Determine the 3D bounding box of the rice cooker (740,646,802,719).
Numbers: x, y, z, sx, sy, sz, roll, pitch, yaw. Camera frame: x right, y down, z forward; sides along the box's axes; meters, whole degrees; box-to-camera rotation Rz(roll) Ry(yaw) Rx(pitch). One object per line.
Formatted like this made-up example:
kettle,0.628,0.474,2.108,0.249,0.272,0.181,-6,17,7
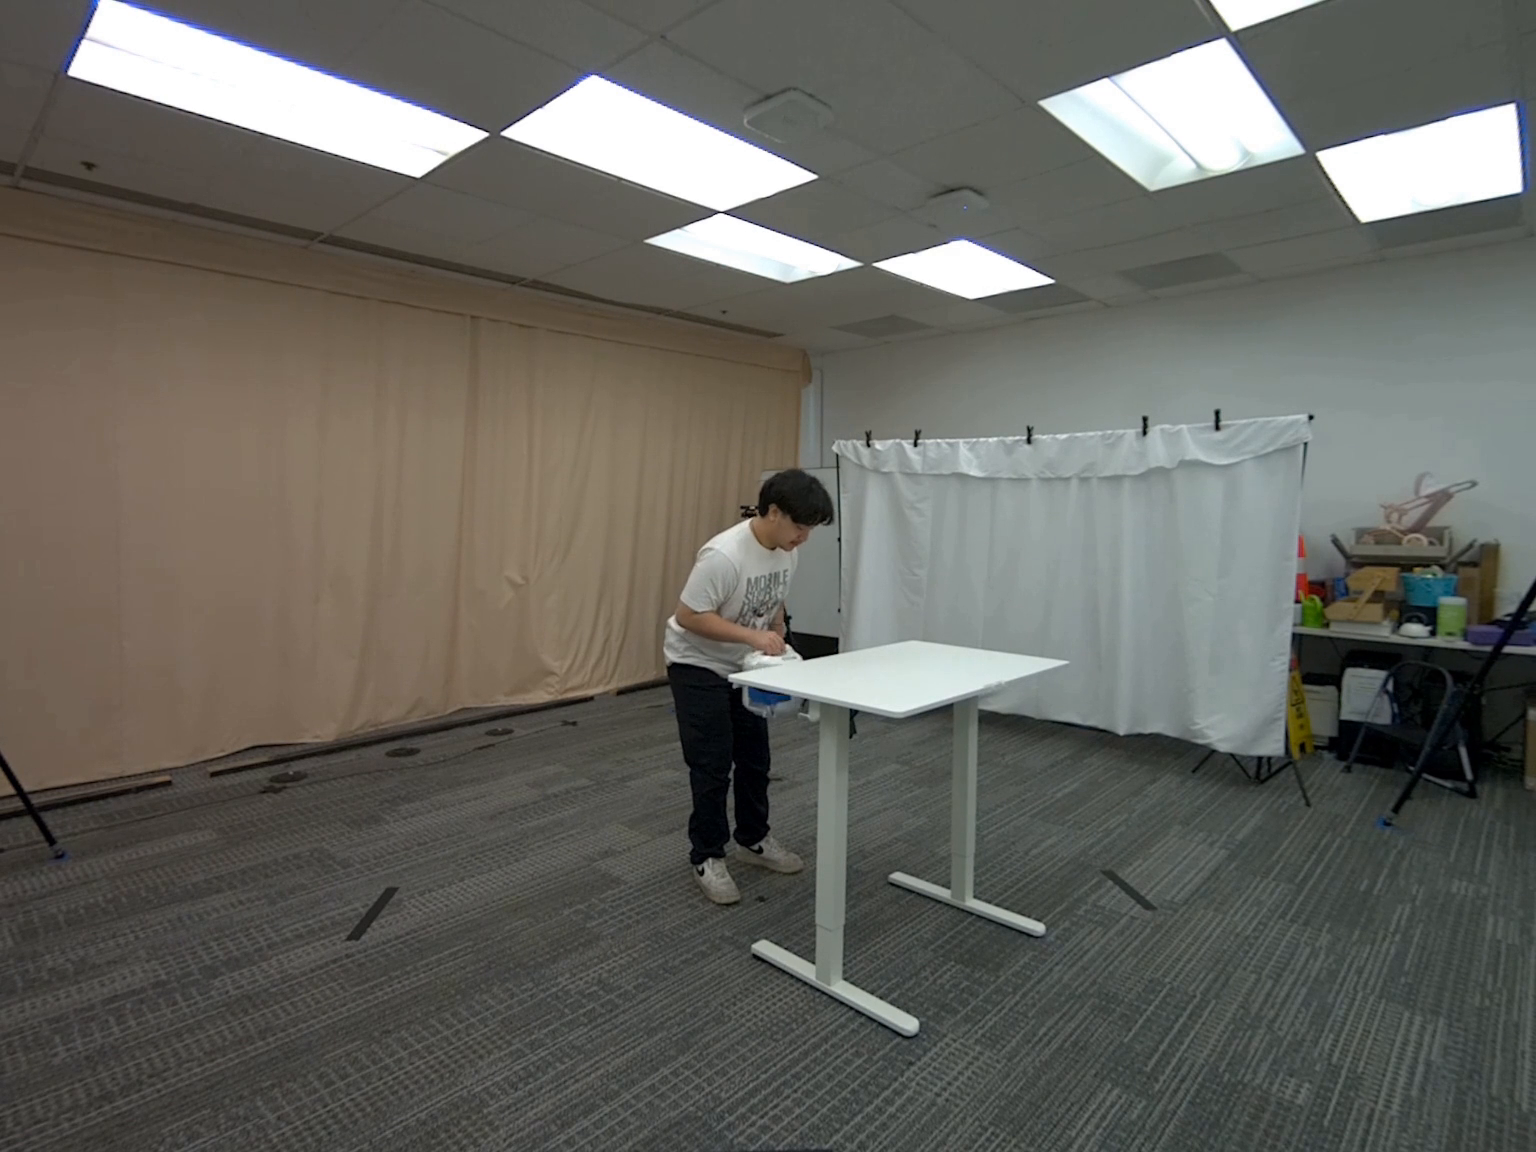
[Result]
rice cooker,0.014,0.356,2.937,0.214,0.232,0.224,-1,7,-34
